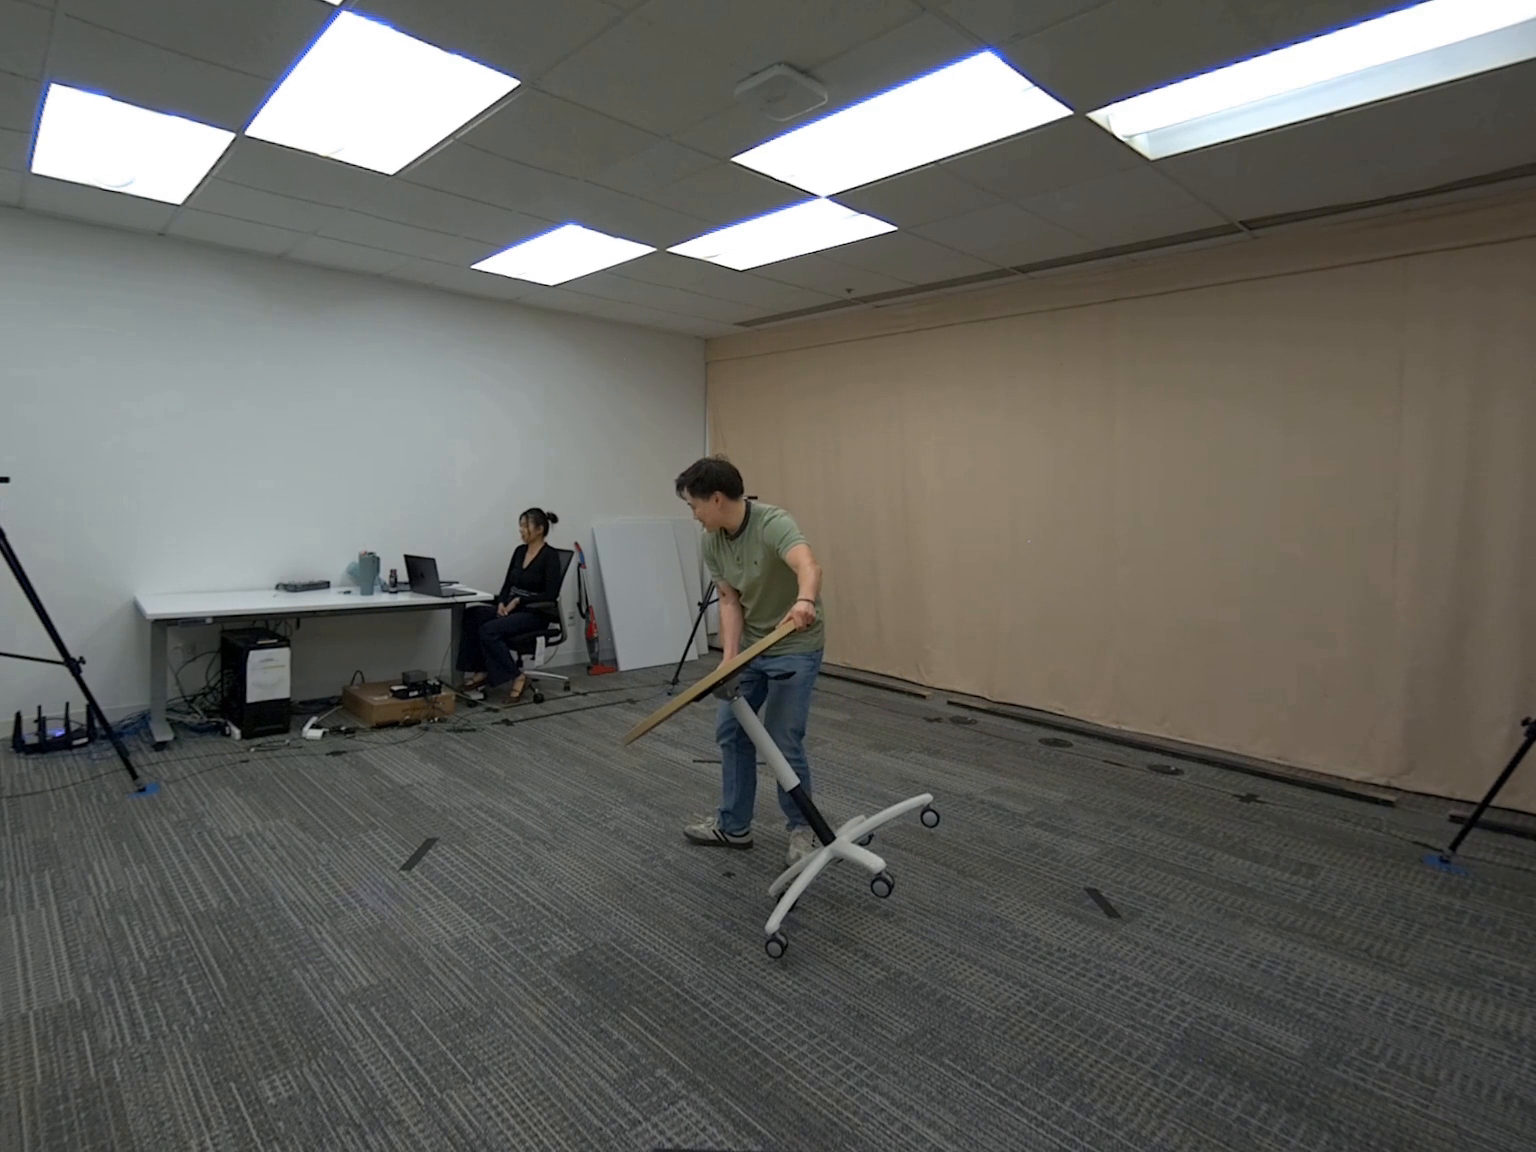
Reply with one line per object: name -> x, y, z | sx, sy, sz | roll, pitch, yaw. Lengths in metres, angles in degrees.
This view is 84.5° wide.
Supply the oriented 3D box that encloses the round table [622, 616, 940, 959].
round table -> 0.051, 0.648, 2.726 | 0.763, 0.800, 0.759 | -33, -6, -5
